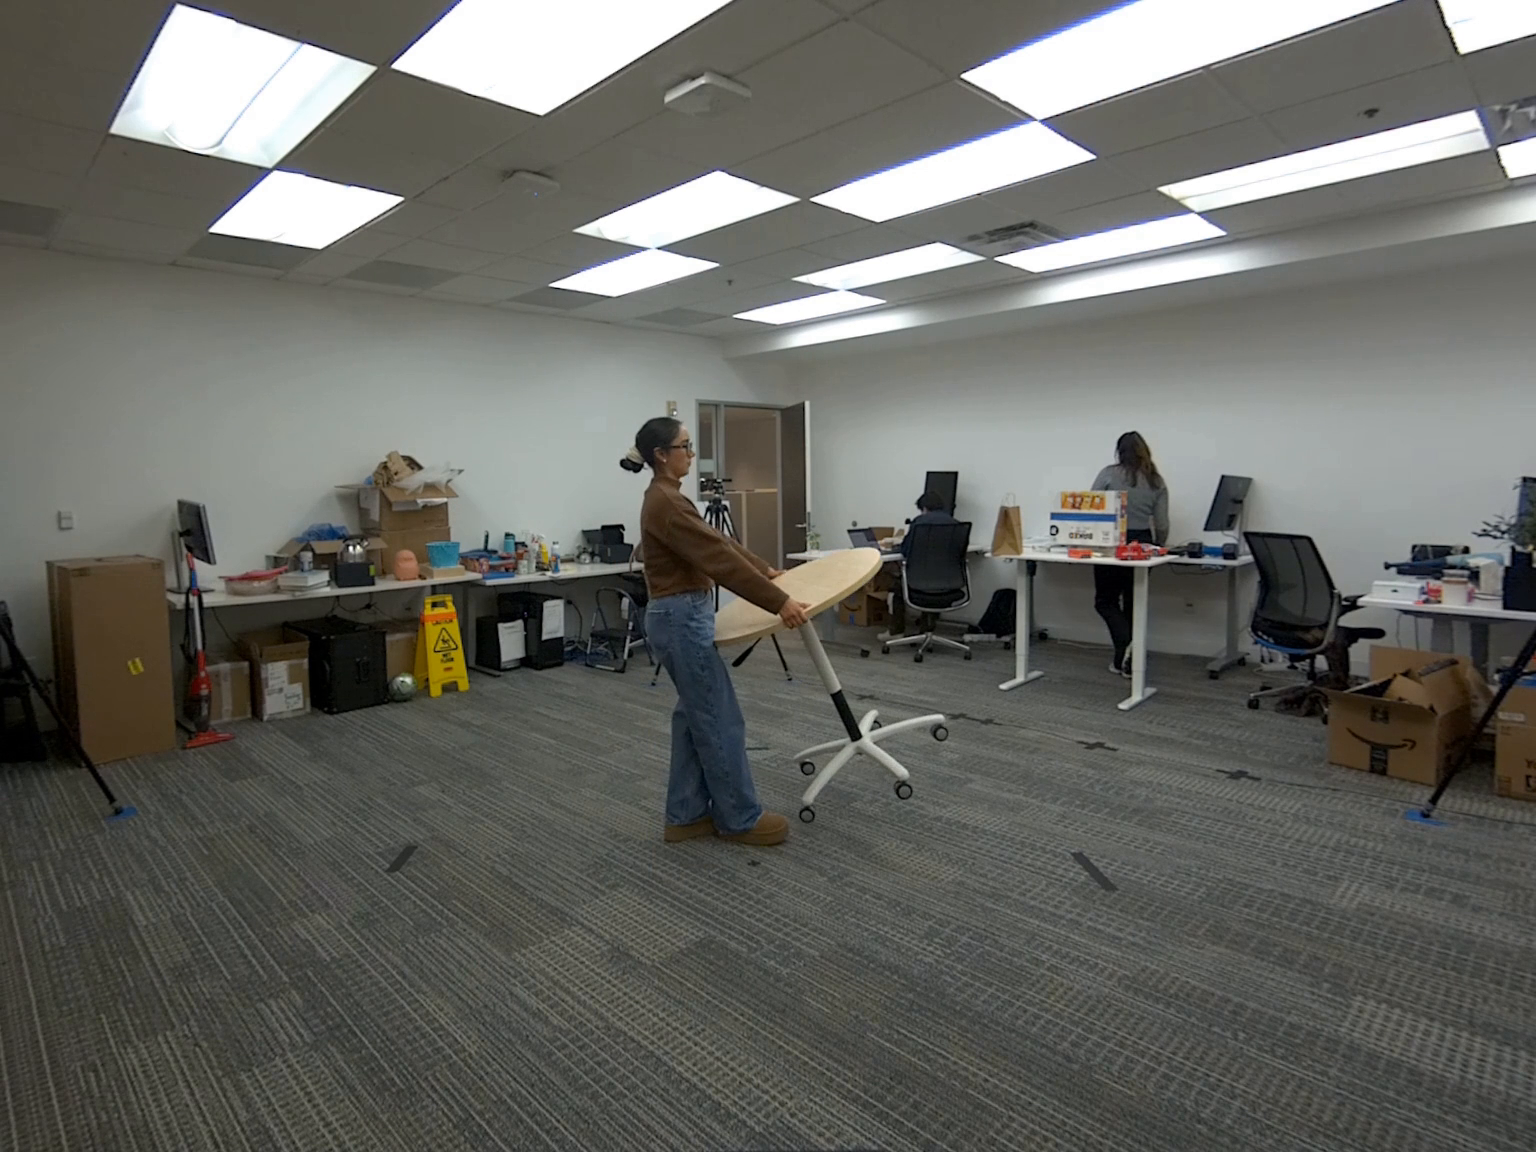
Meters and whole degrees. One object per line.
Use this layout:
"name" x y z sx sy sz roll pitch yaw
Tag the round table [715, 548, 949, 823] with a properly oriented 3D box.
"round table" 0.259 0.408 3.389 0.786 0.778 0.793 -24 10 2
